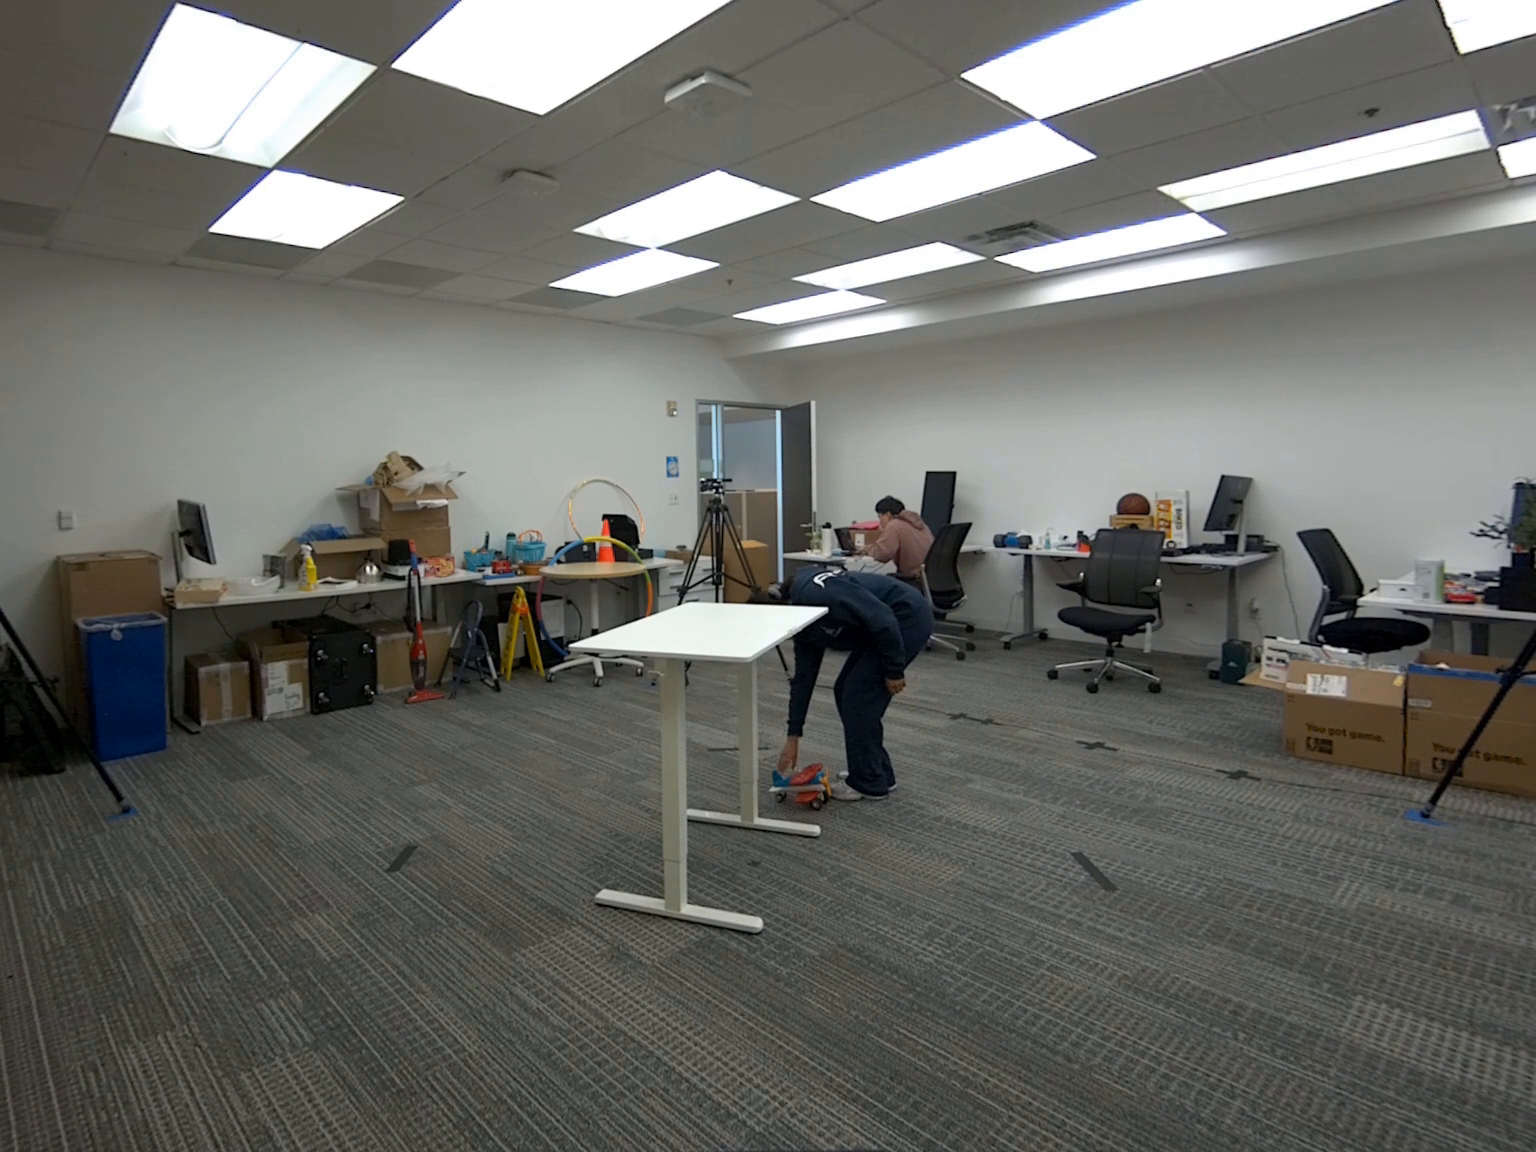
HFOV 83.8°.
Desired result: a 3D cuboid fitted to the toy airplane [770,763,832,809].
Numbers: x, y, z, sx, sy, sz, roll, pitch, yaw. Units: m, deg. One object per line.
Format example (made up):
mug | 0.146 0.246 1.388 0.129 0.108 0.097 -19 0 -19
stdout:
toy airplane | 0.139 0.912 3.640 0.259 0.156 0.253 0 6 -2
